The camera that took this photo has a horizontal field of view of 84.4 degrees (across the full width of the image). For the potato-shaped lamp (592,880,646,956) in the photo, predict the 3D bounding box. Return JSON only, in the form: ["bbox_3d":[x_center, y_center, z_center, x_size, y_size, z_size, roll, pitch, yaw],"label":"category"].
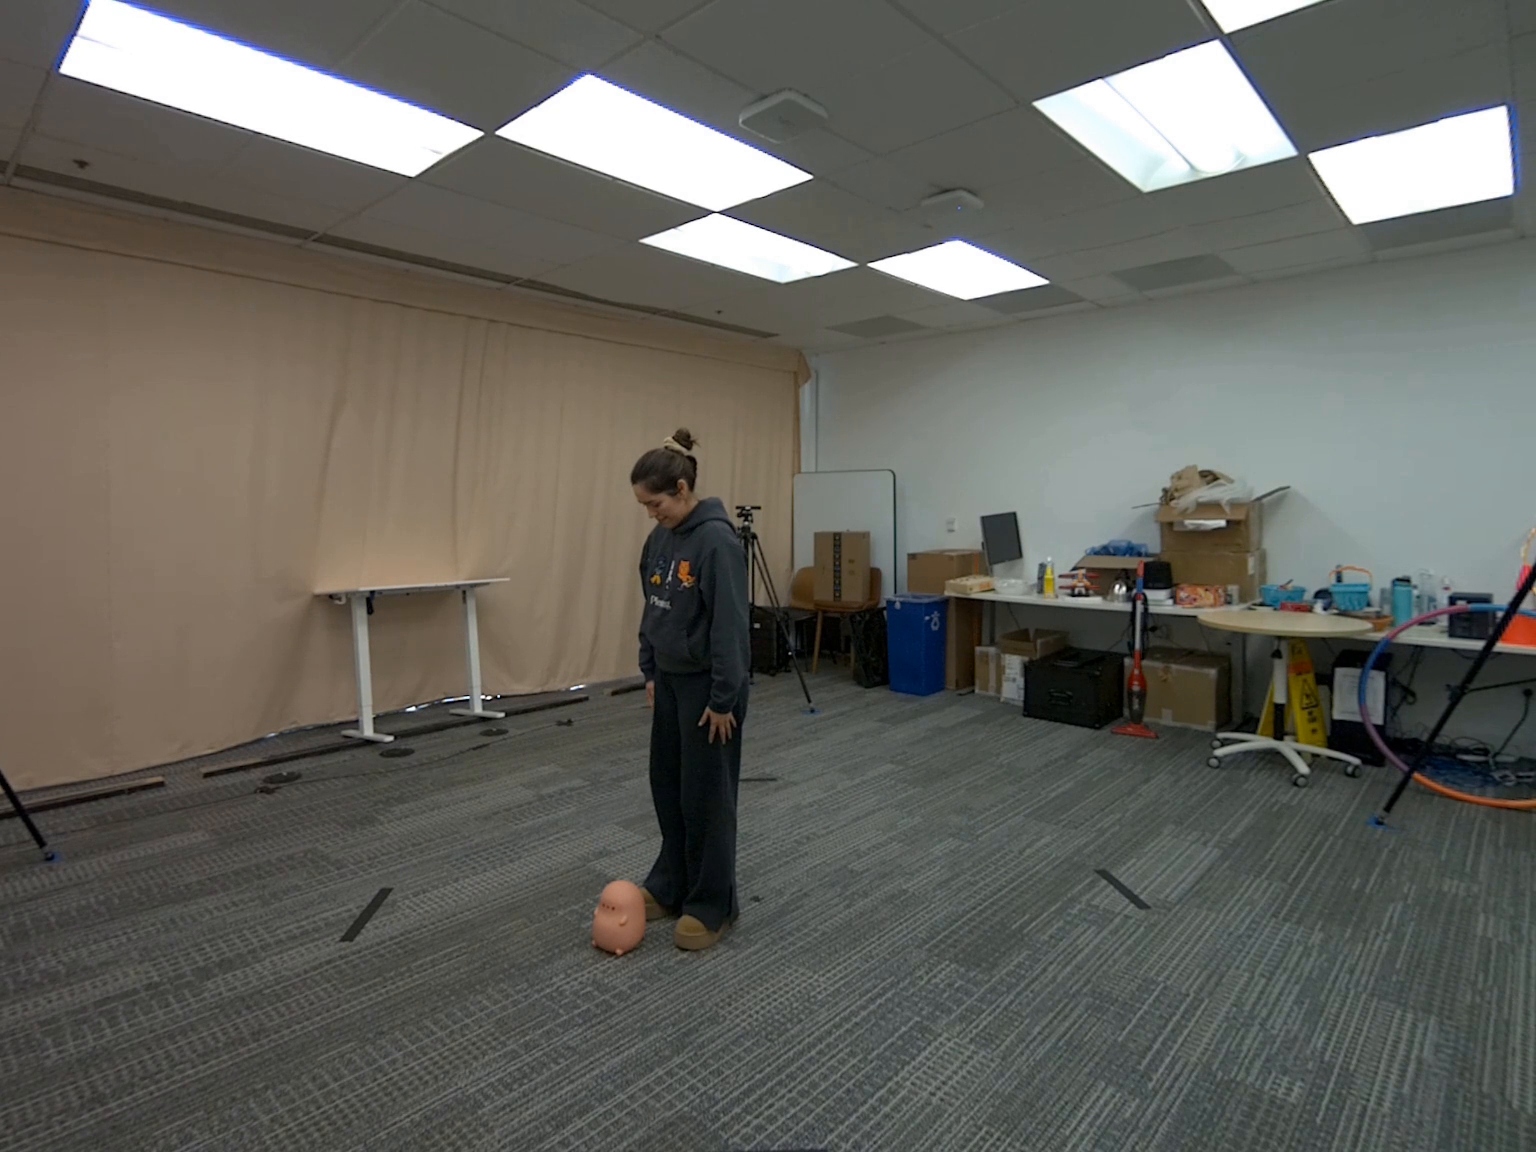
[{"bbox_3d":[-0.452,1.076,2.677,0.170,0.198,0.166,0,-3,37],"label":"potato-shaped lamp"}]
